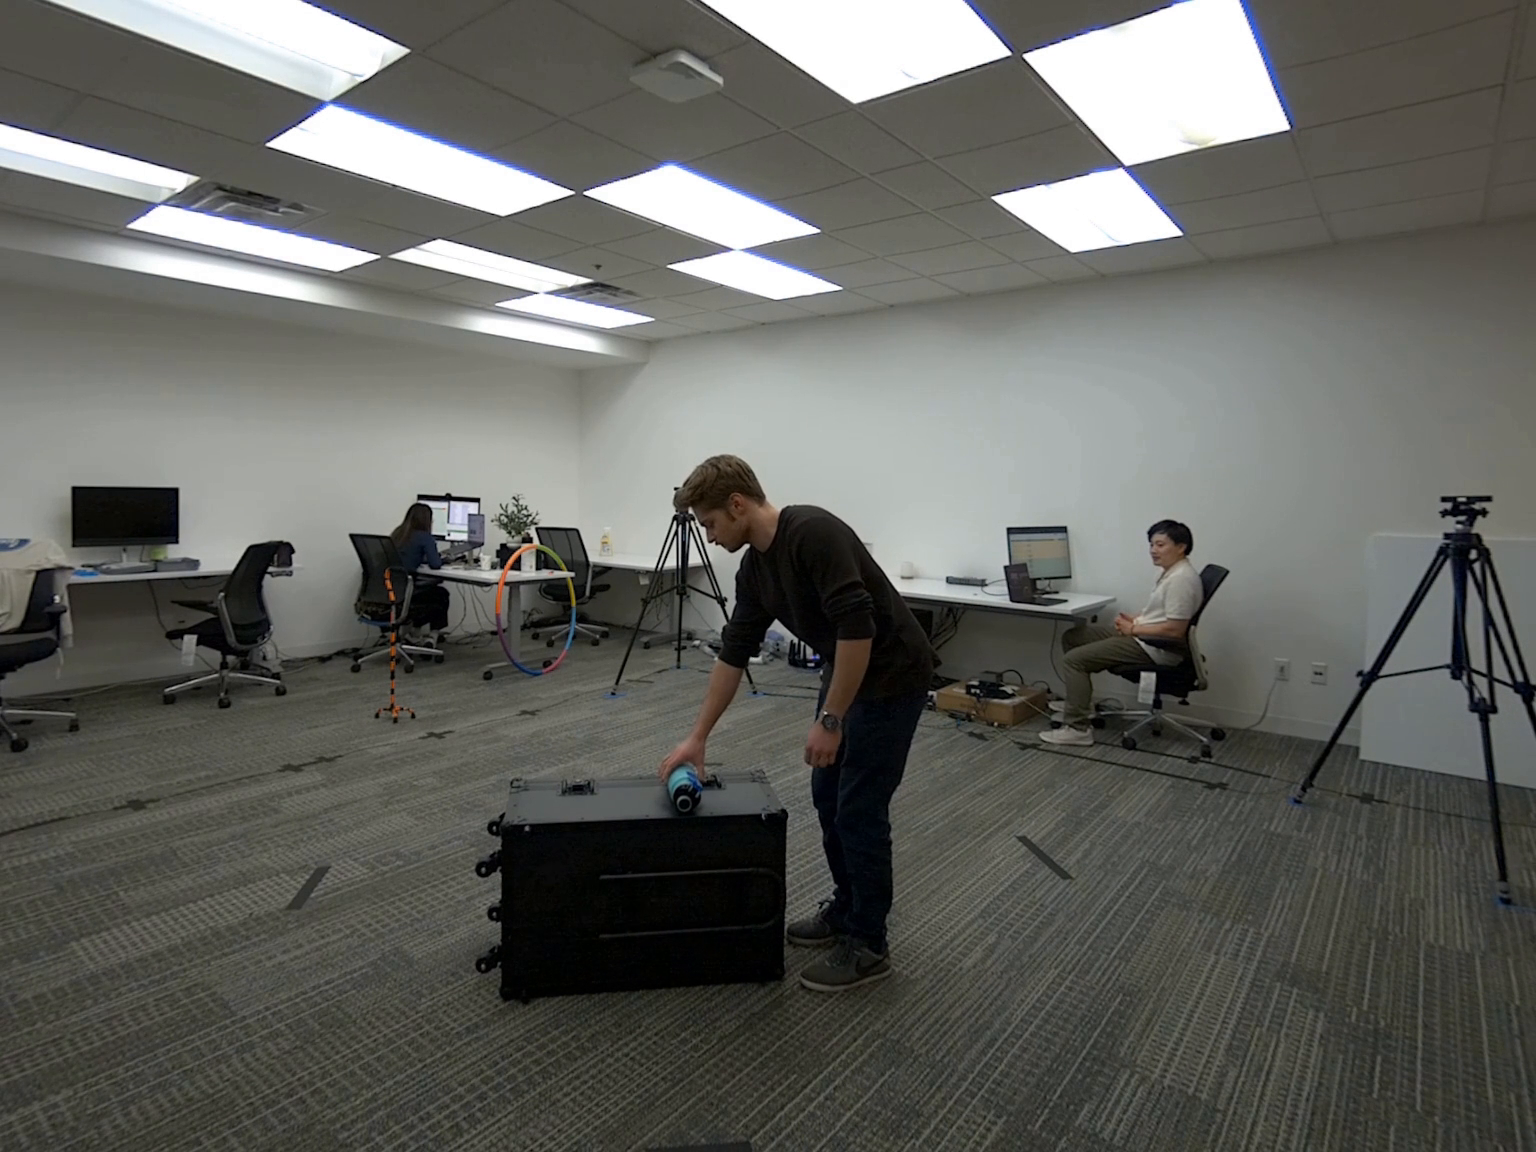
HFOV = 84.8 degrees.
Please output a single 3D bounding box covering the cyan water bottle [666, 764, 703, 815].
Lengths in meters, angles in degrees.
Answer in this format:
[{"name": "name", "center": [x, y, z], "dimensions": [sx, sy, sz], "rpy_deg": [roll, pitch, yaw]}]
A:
[{"name": "cyan water bottle", "center": [-0.254, 0.600, 2.484], "dimensions": [0.091, 0.092, 0.288], "rpy_deg": [0, 5, -12]}]
